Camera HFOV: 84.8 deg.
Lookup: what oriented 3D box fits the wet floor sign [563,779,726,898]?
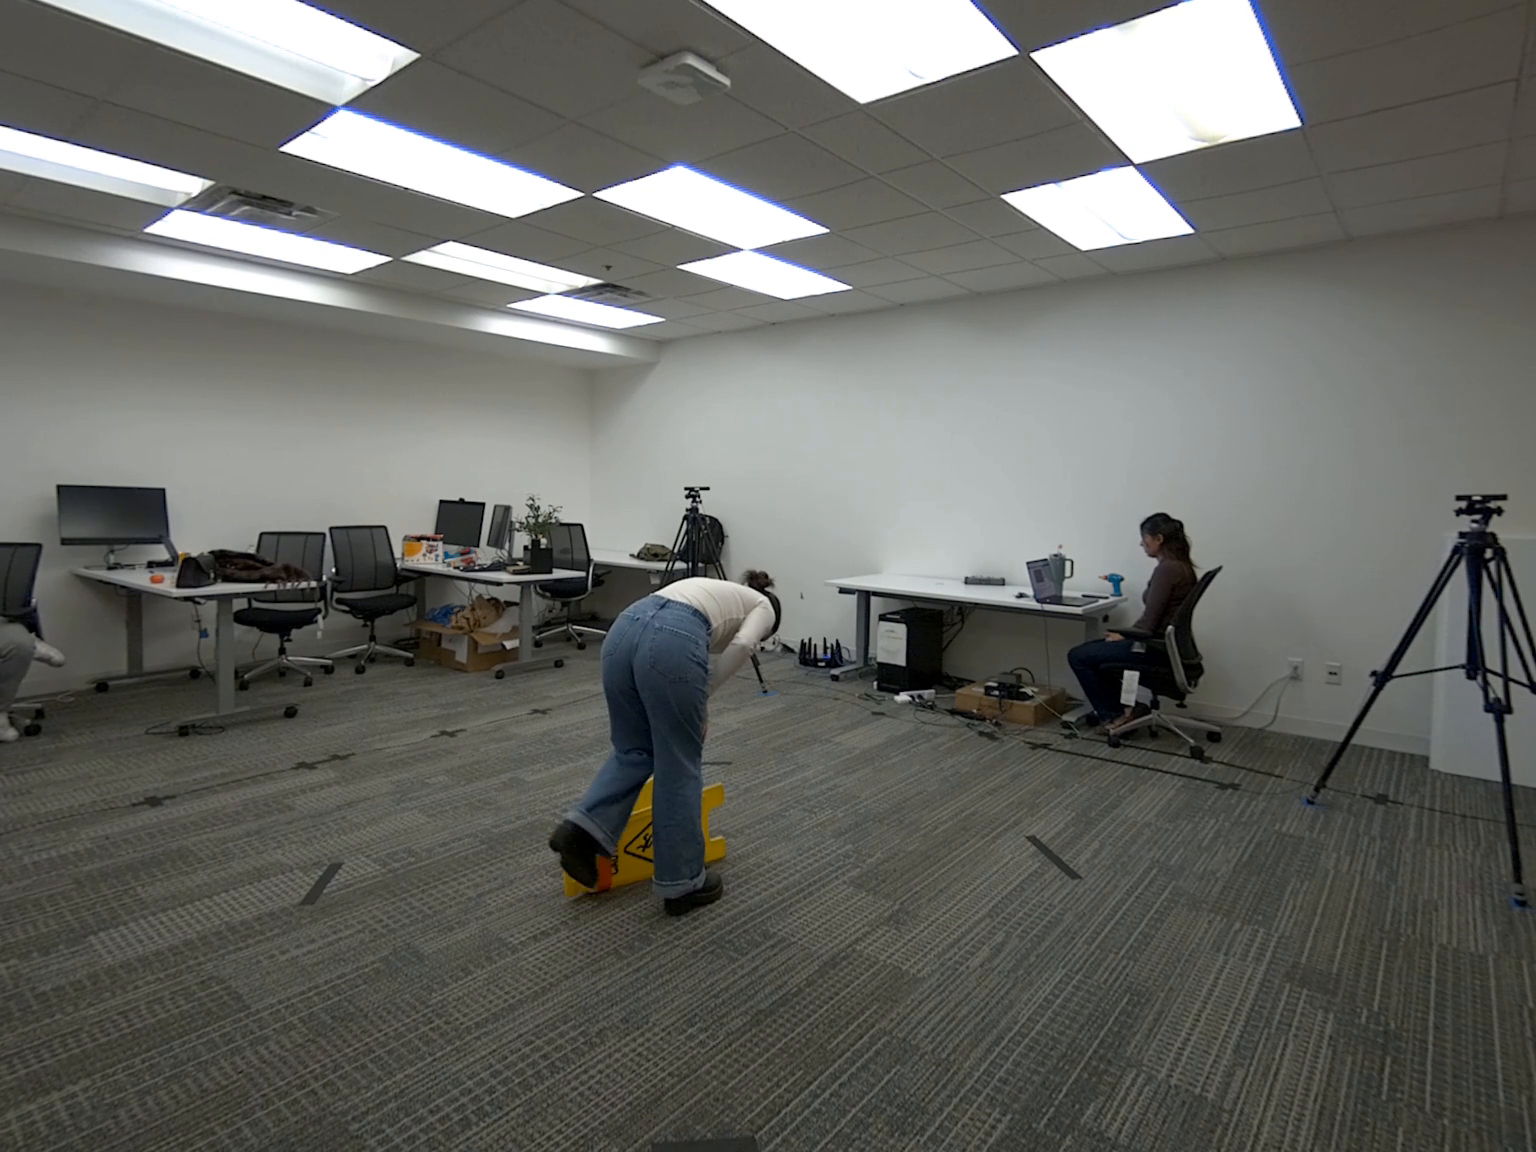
[{"bbox_3d":[-0.477,0.936,3.058,0.299,0.281,0.628,1,6,40],"label":"wet floor sign"}]
